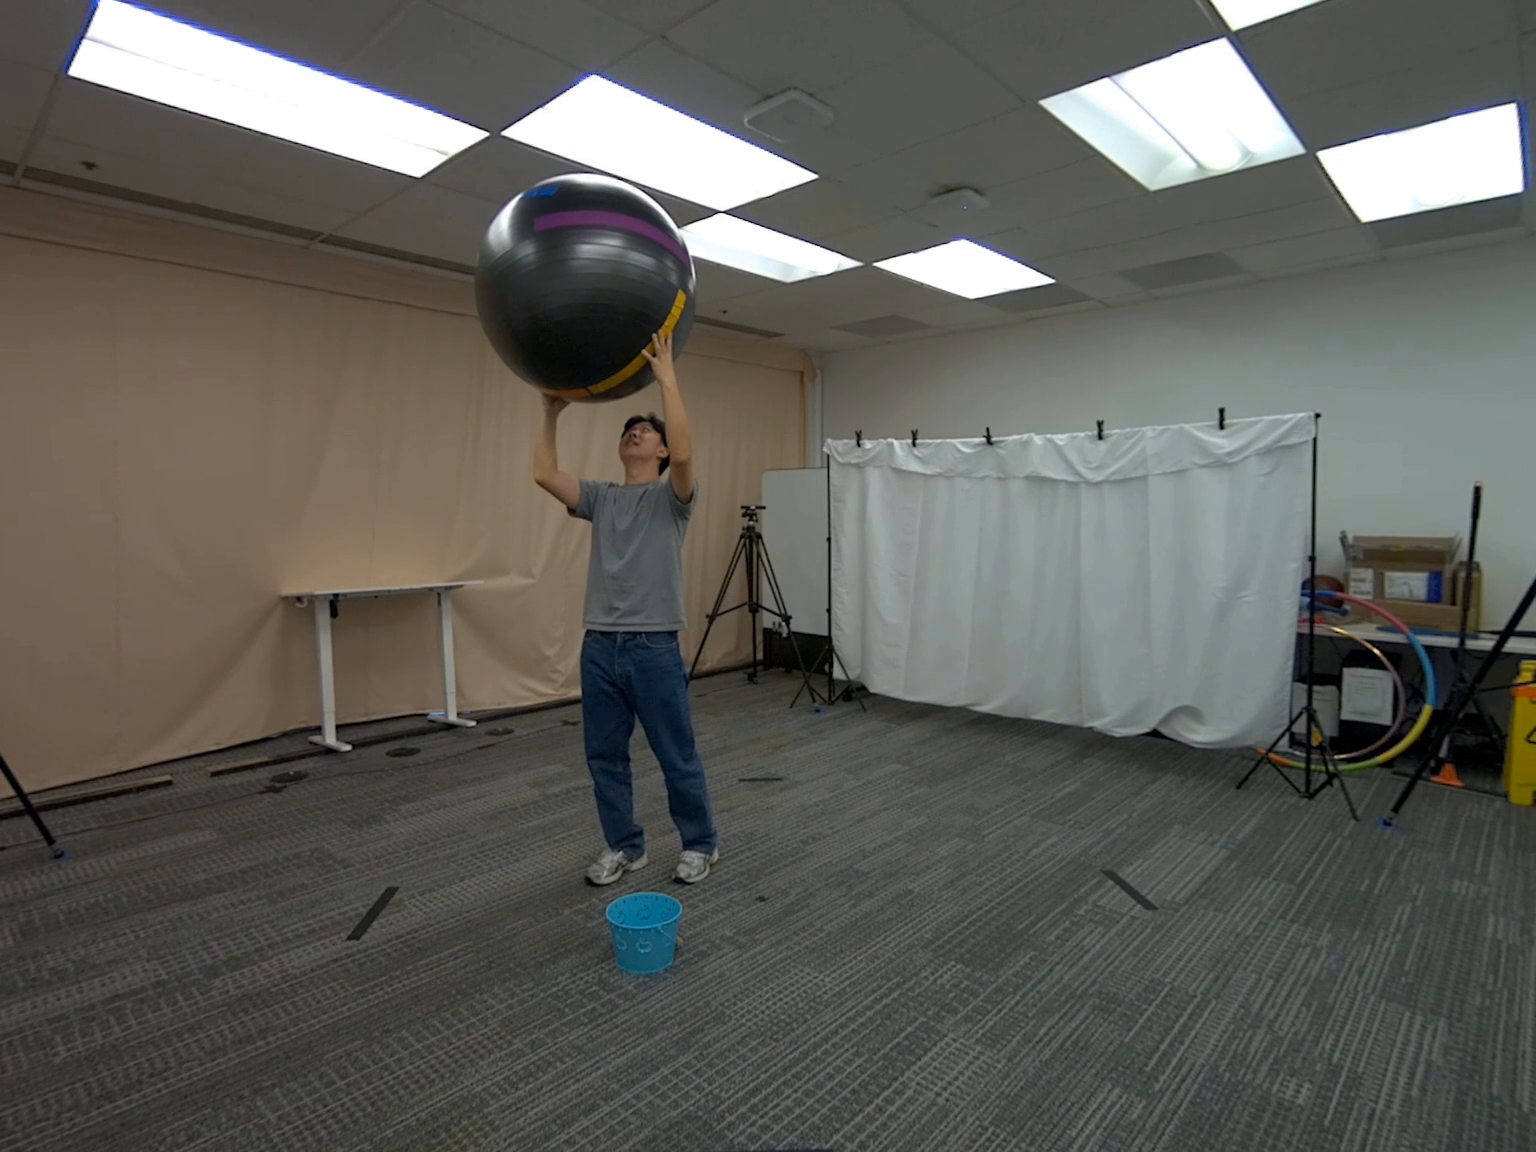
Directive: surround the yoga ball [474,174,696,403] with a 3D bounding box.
[{"bbox_3d":[-0.633,-0.987,2.926,0.757,0.756,0.761,0,4,-2],"label":"yoga ball"}]
